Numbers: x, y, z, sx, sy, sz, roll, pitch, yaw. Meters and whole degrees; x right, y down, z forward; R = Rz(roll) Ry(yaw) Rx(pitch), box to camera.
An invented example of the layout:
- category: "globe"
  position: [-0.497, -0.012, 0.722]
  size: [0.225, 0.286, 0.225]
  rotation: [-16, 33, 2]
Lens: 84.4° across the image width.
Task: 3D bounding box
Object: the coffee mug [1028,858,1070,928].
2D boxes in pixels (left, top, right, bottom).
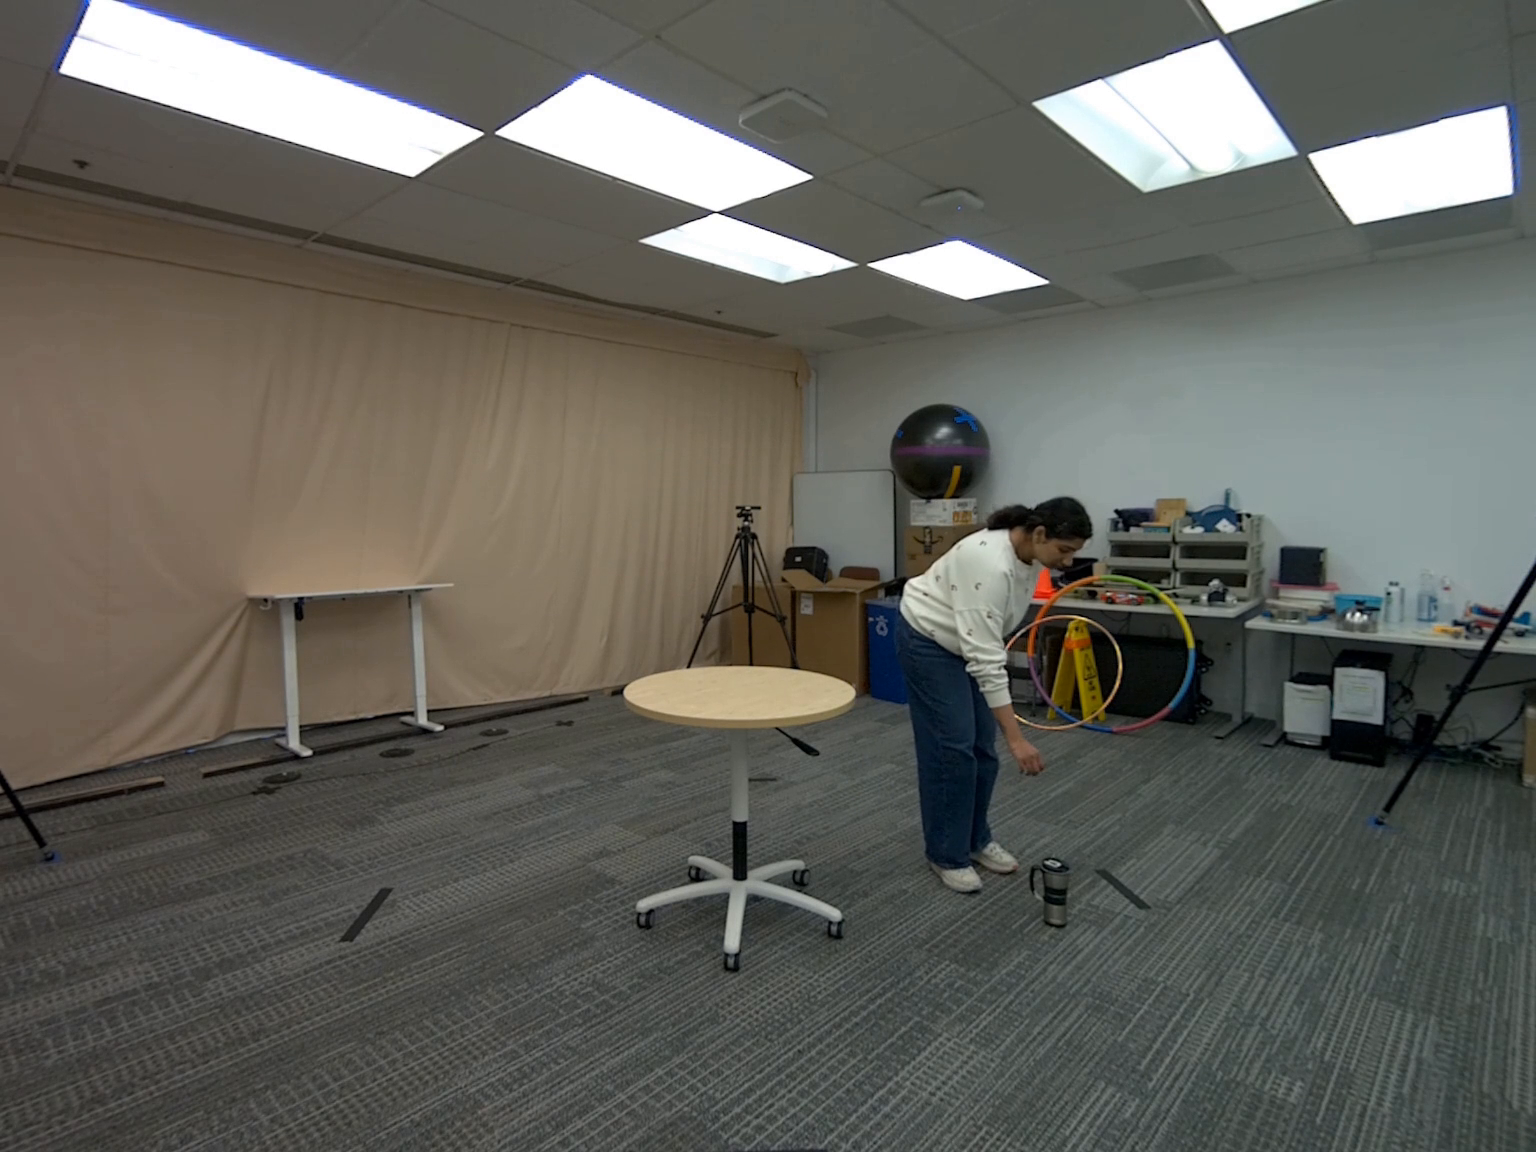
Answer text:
- category: "coffee mug"
  position: [0.939, 1.053, 2.817]
  size: [0.126, 0.202, 0.085]
  rotation: [5, 8, 39]
